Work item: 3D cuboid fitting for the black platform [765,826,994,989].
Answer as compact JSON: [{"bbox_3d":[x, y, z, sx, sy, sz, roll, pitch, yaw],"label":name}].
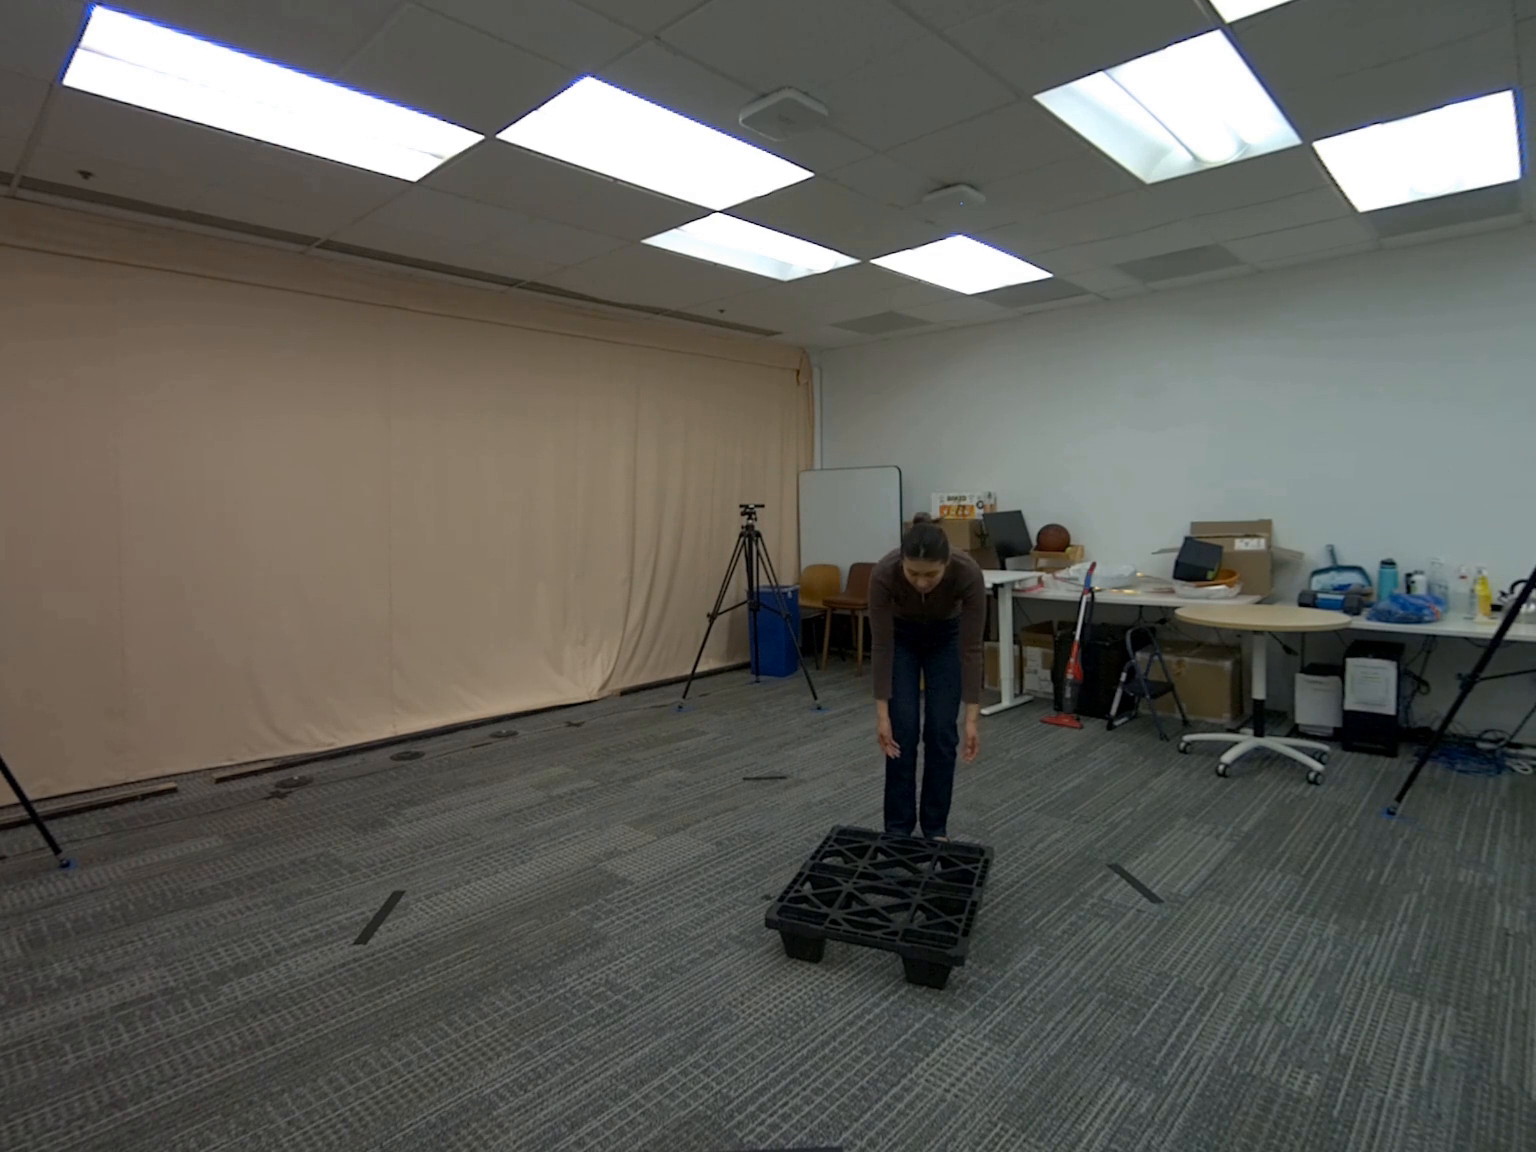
[{"bbox_3d":[0.412,1.078,2.821,0.619,0.143,0.789,2,6,22],"label":"black platform"}]
